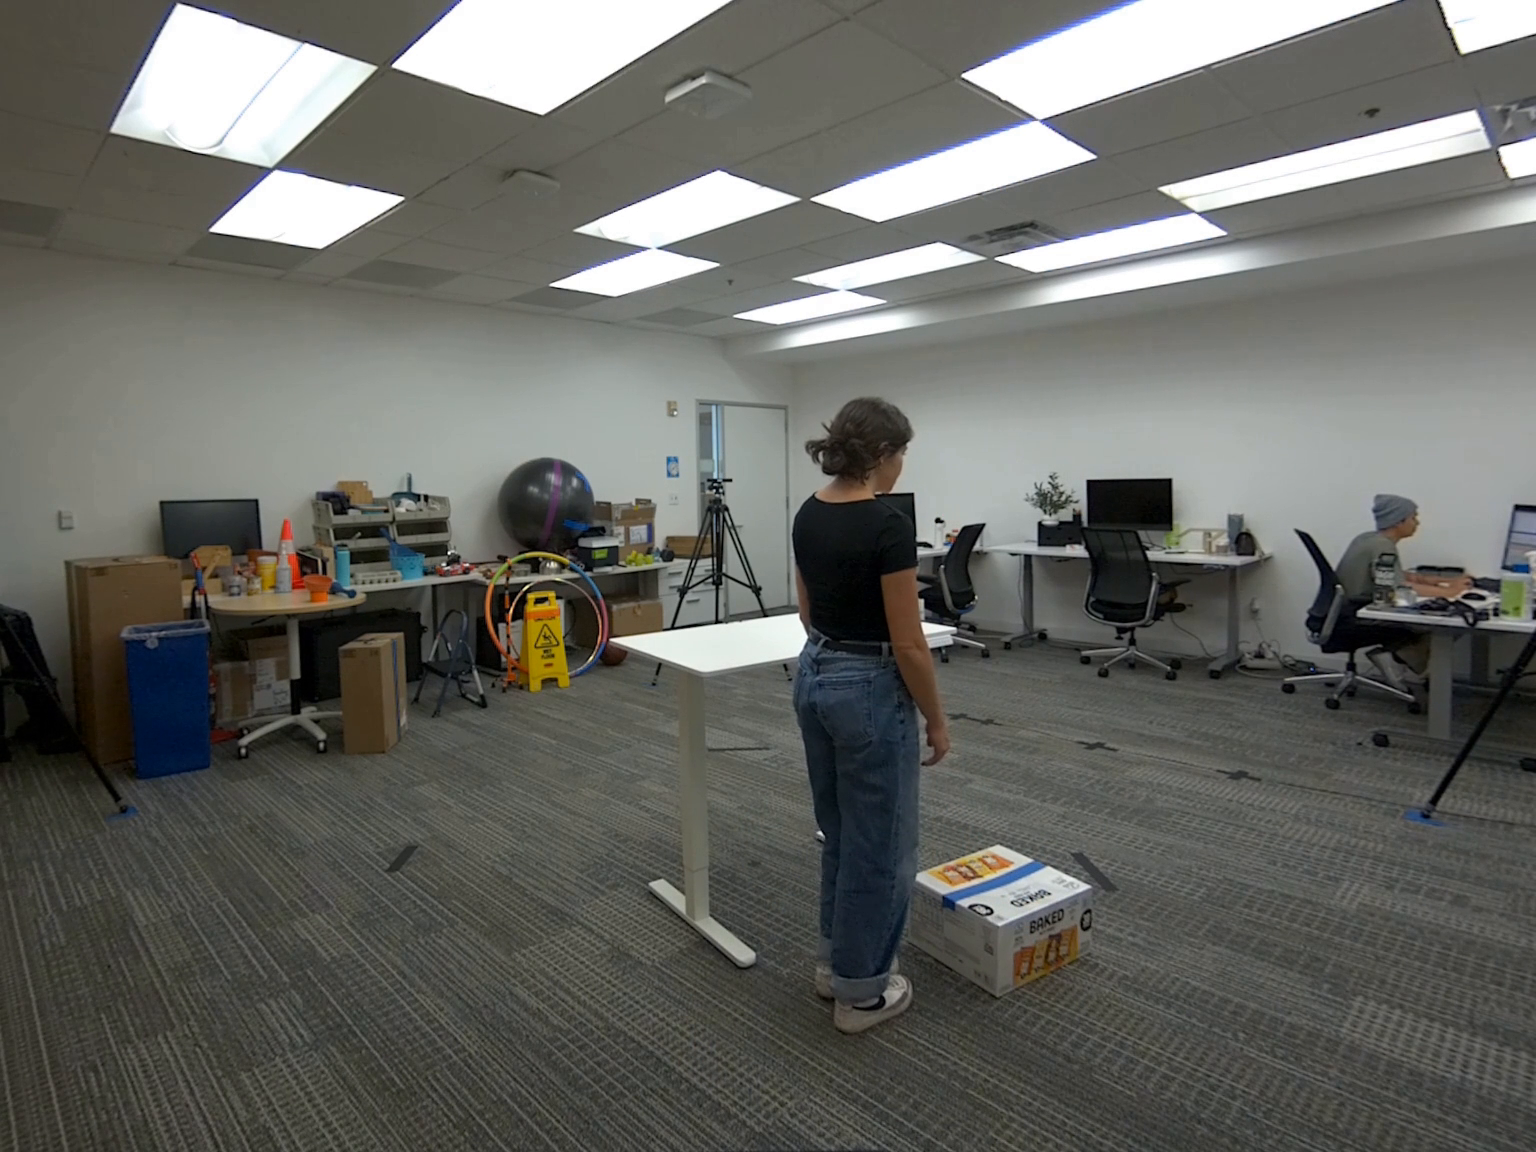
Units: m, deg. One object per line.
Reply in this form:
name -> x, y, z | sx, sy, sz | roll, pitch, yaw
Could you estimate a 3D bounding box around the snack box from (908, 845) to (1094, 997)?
snack box -> 0.688, 1.000, 2.515 | 0.395, 0.205, 0.350 | -5, 7, -33
